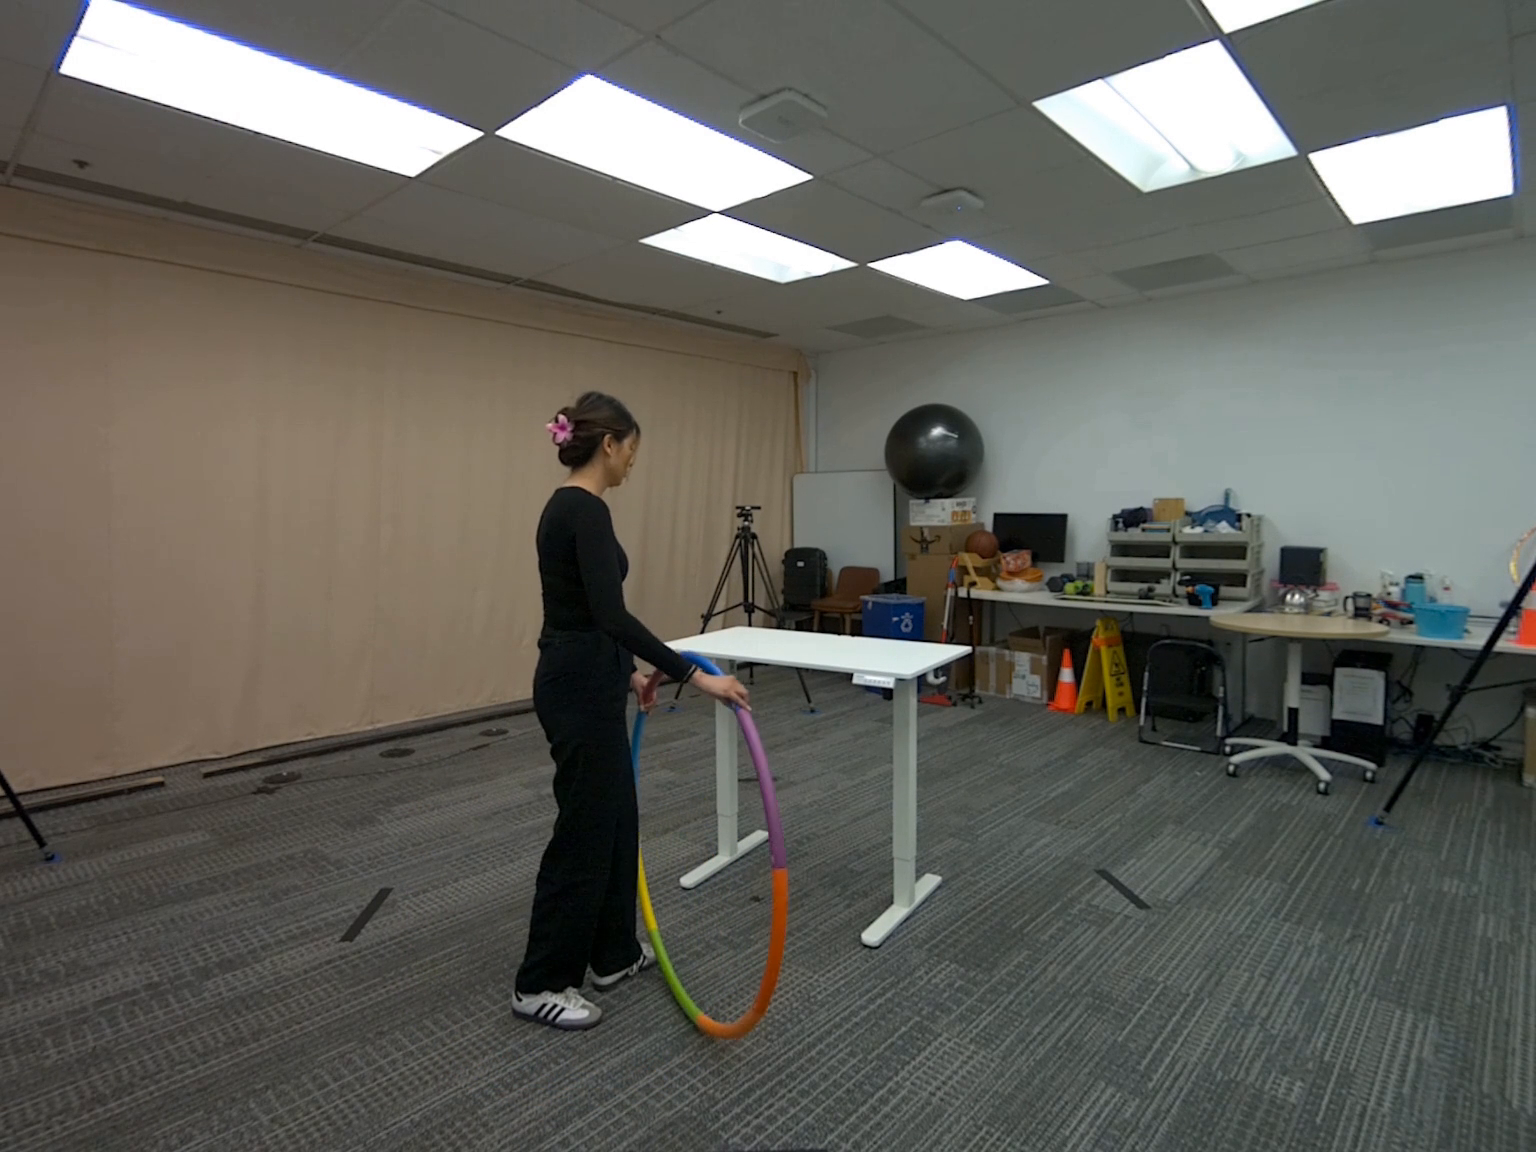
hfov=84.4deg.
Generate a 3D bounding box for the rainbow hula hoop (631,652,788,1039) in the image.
[{"bbox_3d":[-0.201,0.705,2.294,0.034,0.977,1.006,1,3,-29],"label":"rainbow hula hoop"}]
